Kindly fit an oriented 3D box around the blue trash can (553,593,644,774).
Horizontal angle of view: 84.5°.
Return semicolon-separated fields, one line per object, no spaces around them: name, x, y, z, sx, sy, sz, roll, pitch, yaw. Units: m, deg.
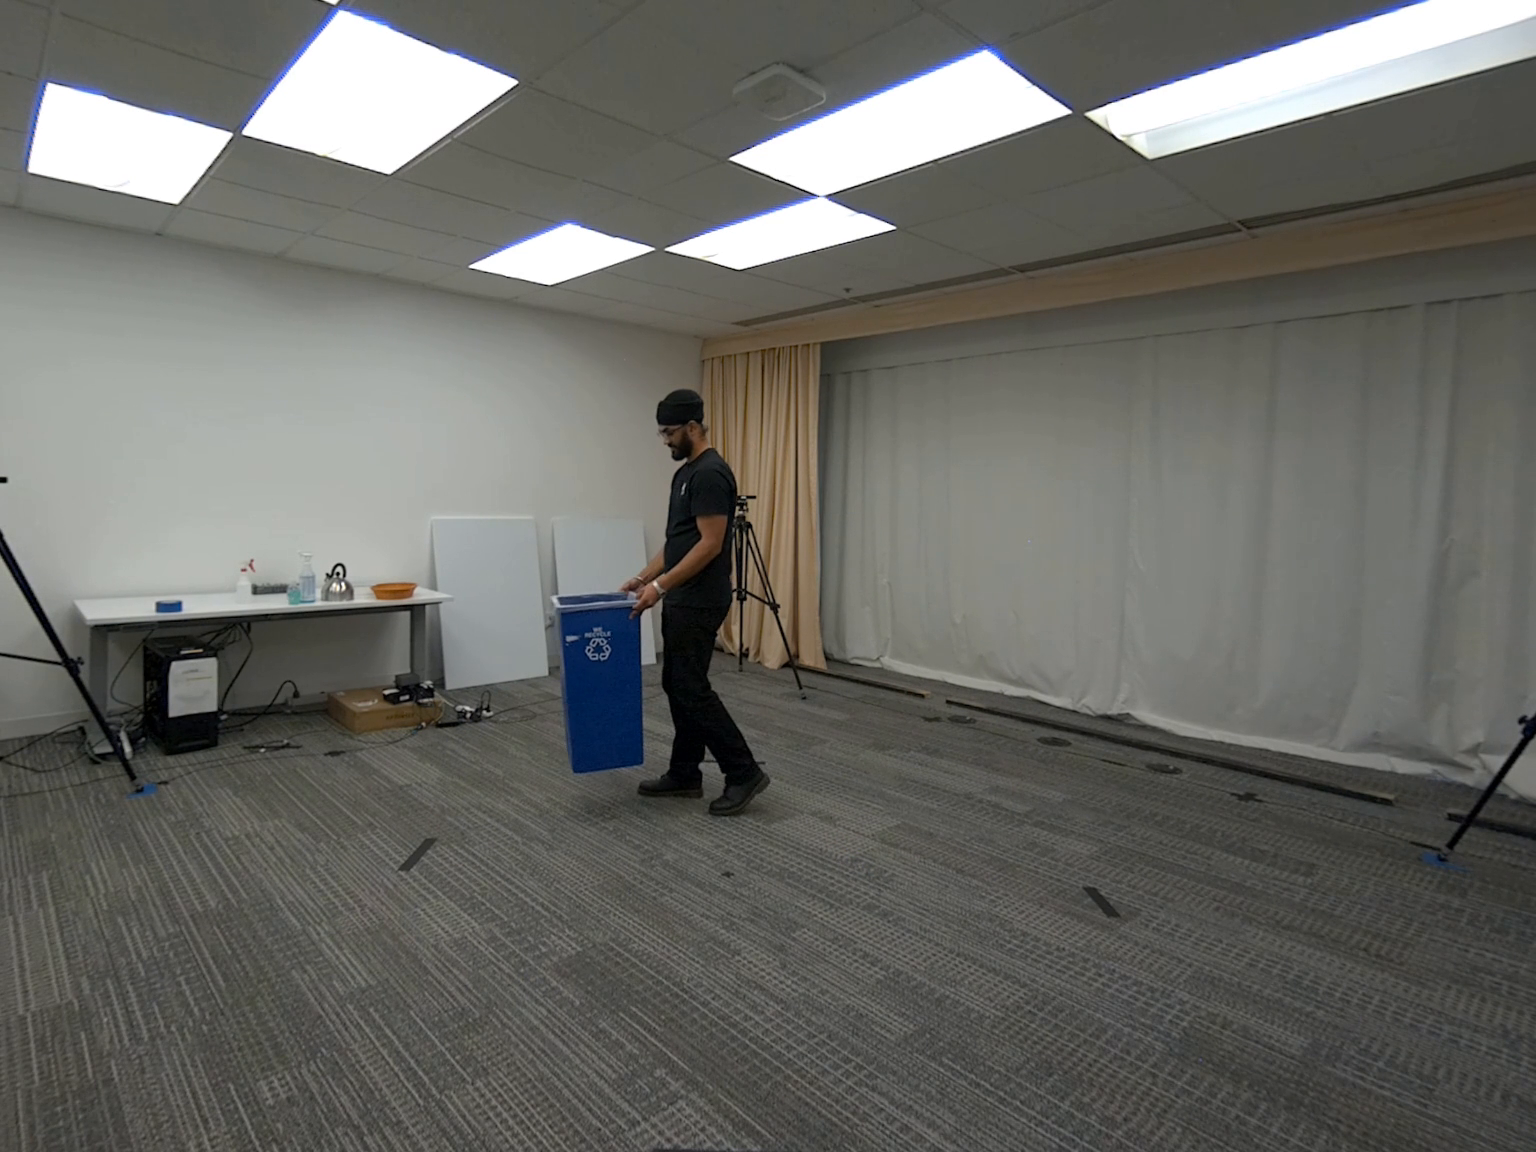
blue trash can;-0.733;0.451;3.675;0.370;0.711;0.384;-4;5;-17
